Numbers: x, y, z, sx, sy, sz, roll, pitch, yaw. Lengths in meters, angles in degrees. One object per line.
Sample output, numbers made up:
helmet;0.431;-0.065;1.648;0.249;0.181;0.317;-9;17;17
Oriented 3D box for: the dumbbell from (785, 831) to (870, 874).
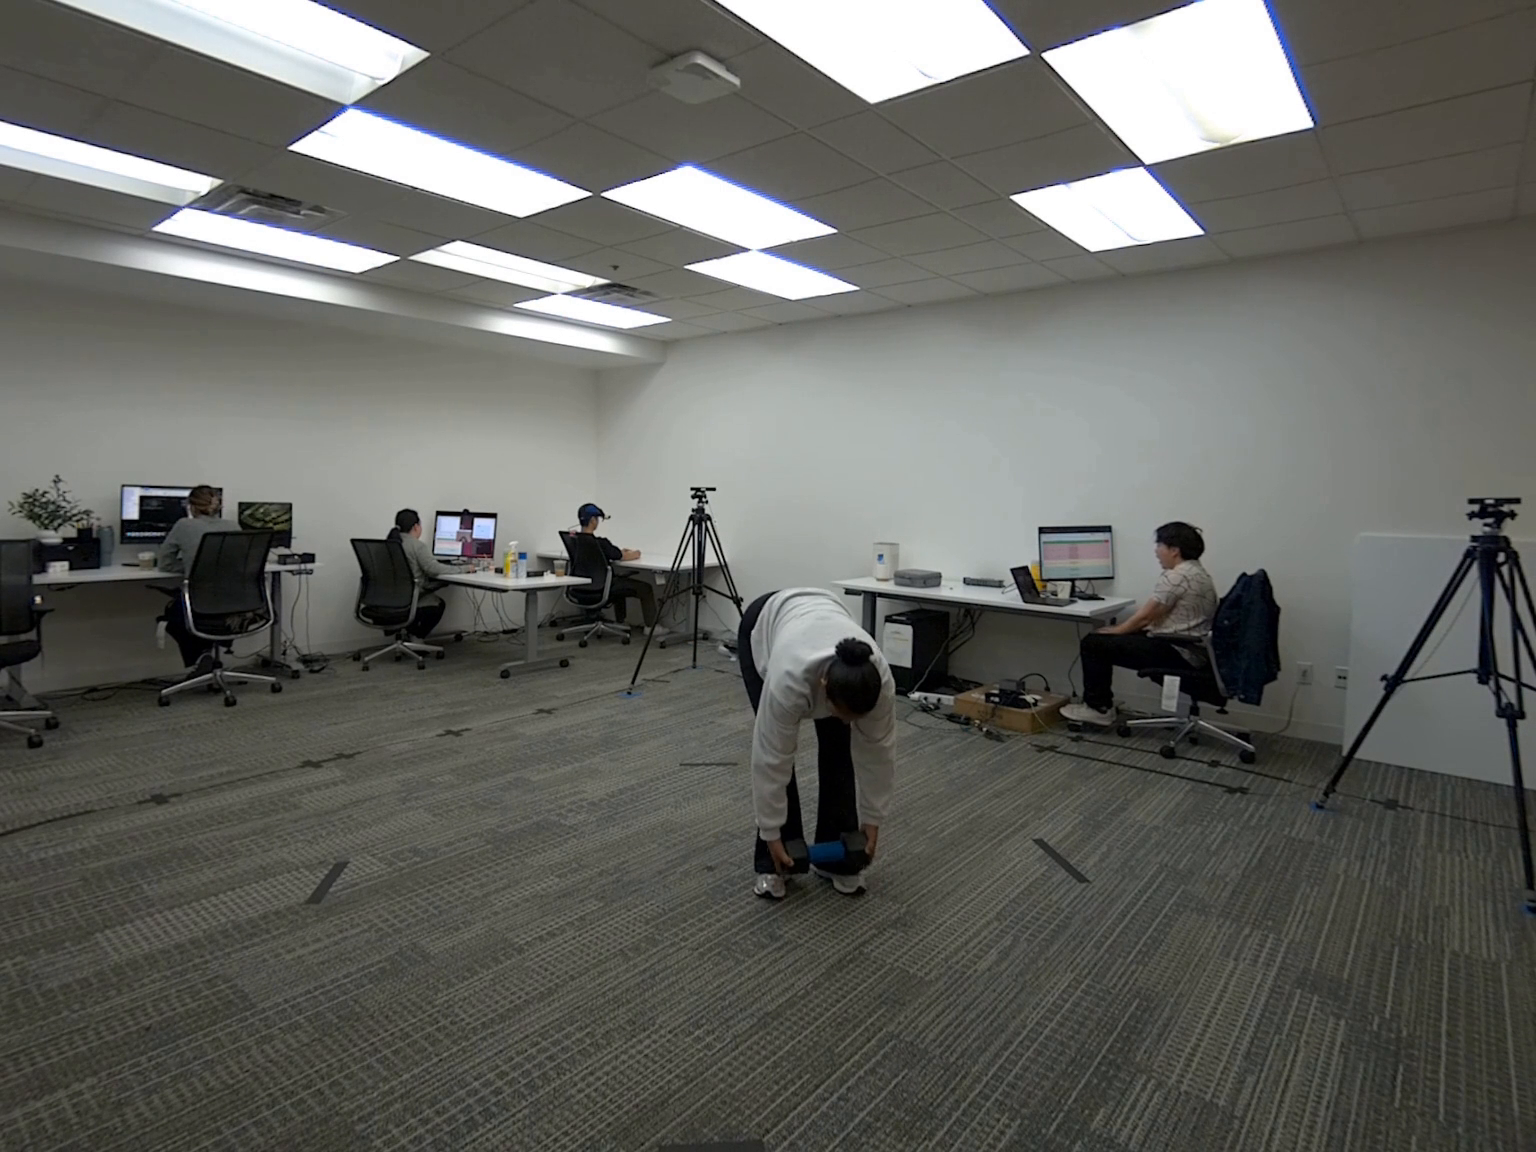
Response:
dumbbell;0.184;0.921;2.869;0.291;0.121;0.111;-6;15;-9
